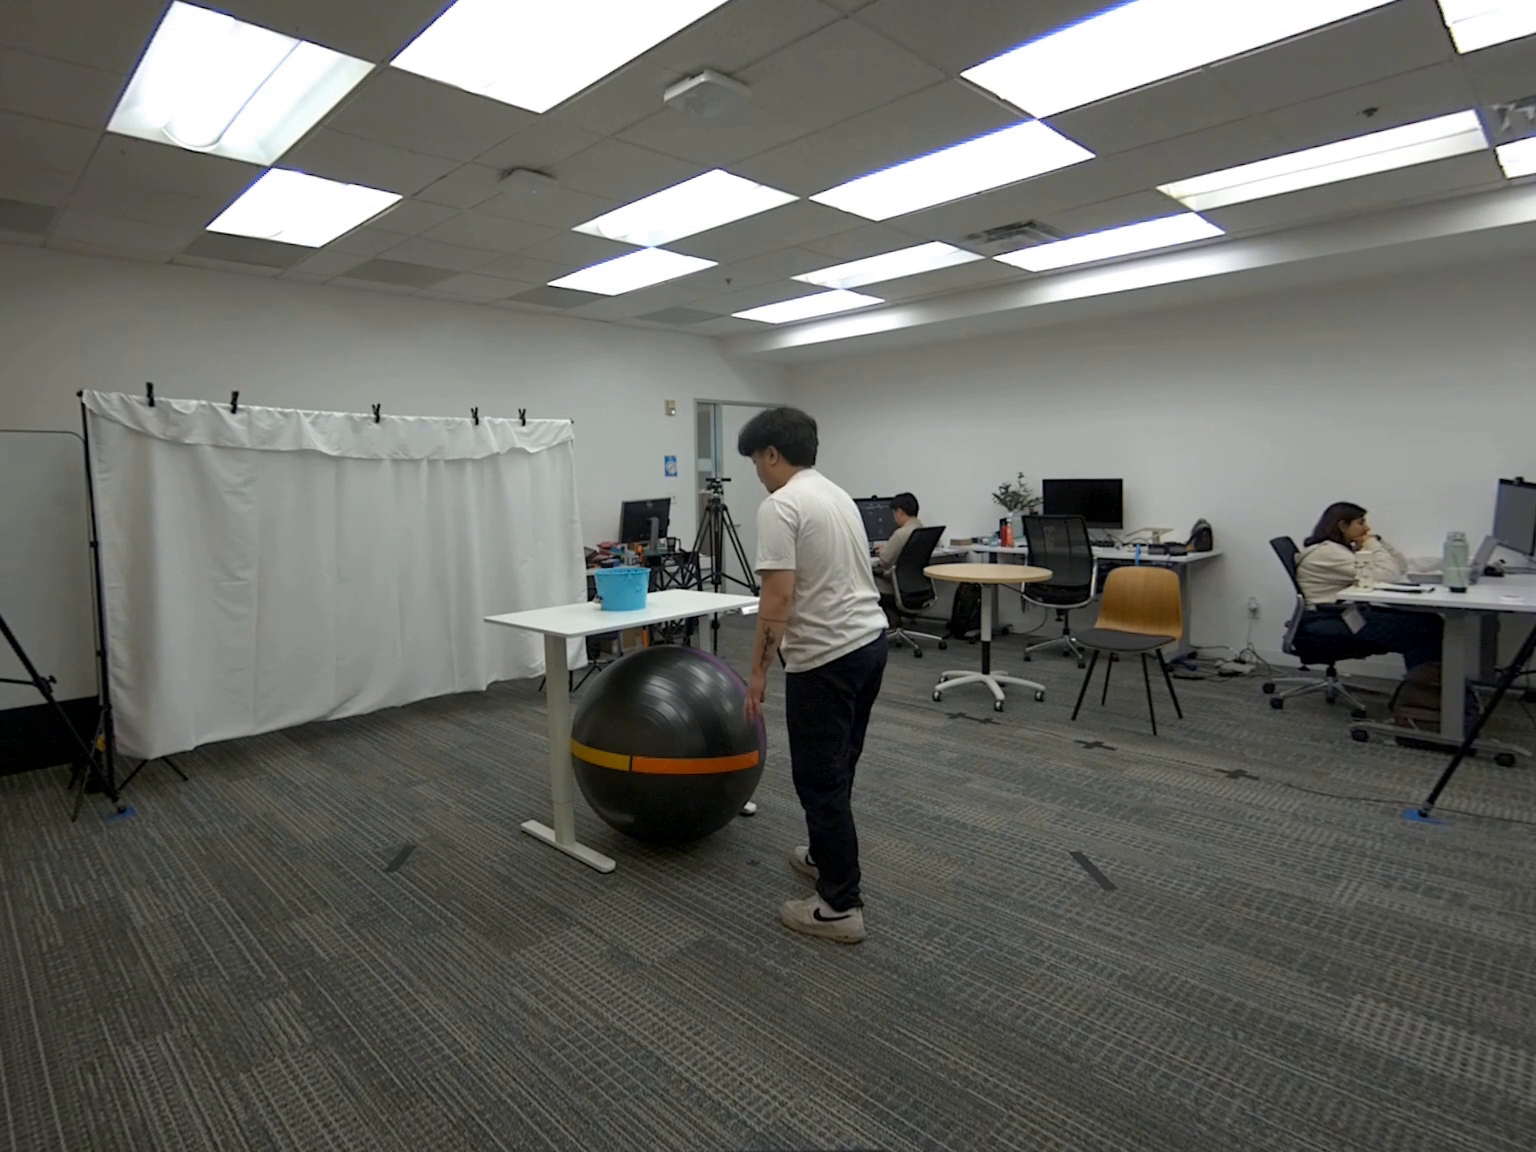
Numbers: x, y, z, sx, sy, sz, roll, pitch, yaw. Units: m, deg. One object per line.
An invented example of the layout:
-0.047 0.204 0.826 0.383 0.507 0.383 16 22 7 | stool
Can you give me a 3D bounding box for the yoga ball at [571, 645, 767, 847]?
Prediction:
-0.391 0.659 3.329 0.757 0.755 0.762 -1 5 -2 | yoga ball
